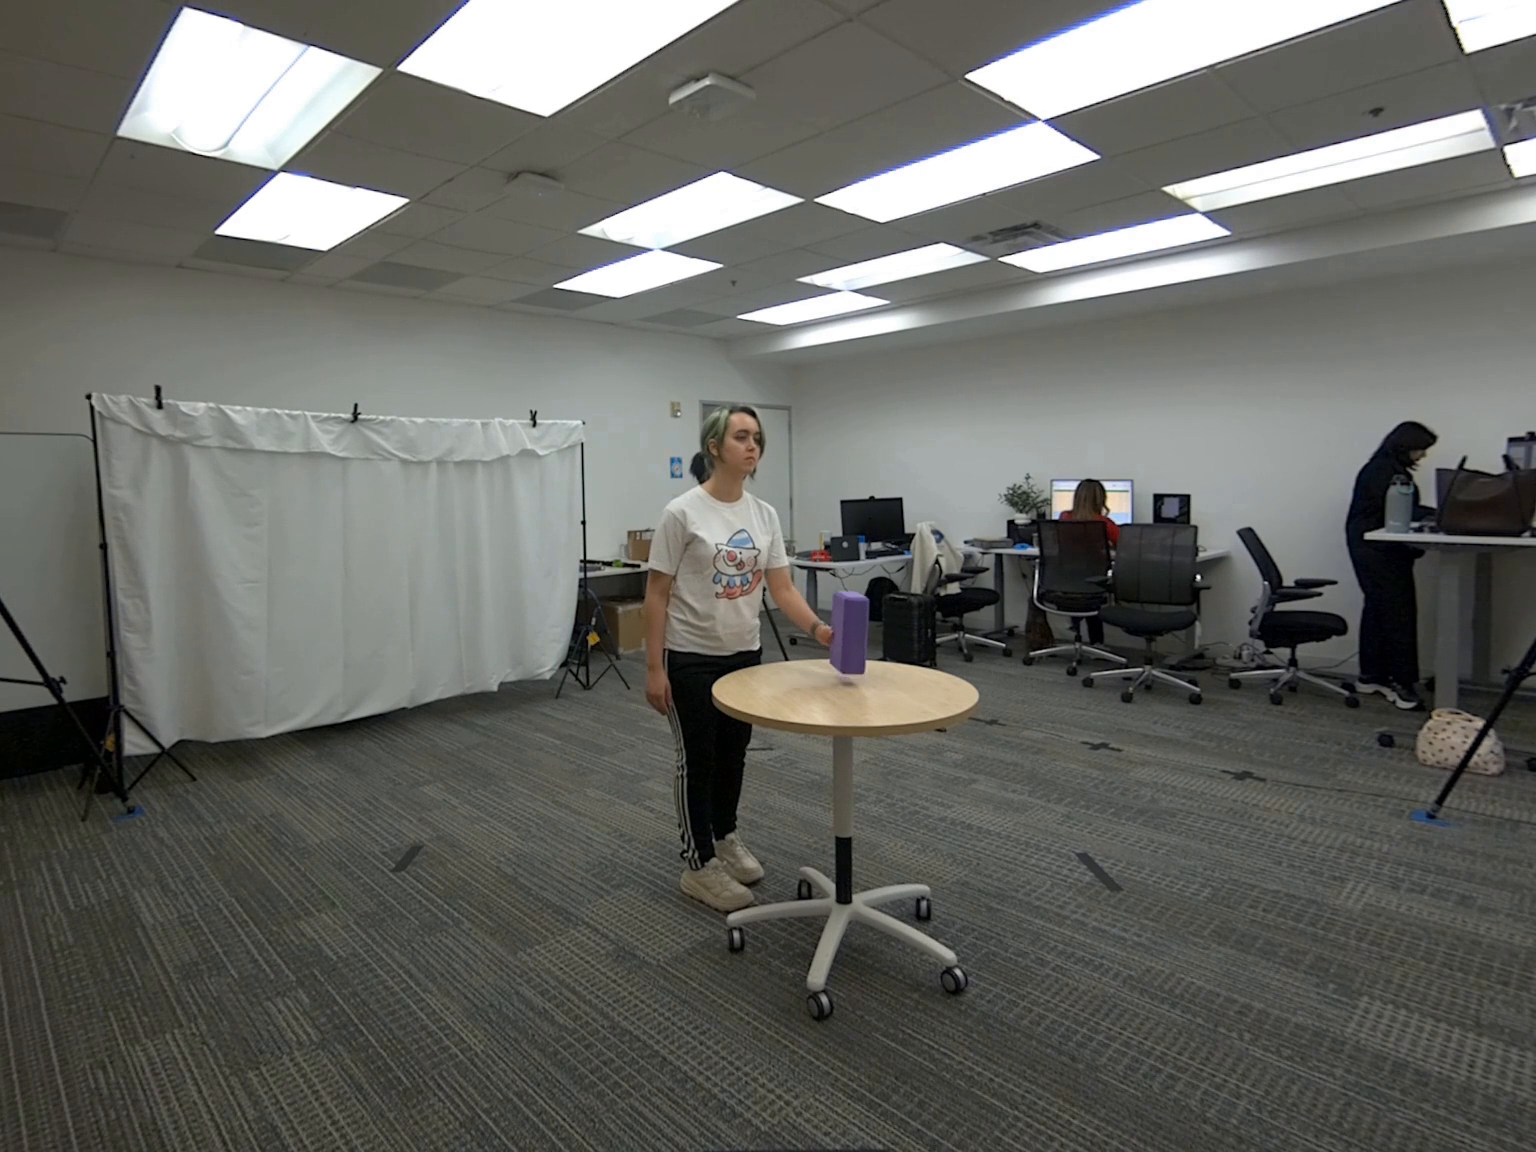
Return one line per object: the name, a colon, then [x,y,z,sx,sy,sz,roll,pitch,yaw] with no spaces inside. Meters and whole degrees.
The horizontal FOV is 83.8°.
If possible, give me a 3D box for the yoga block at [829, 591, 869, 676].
yoga block: [0.250,0.164,2.569,0.076,0.228,0.149,1,4,-2]
